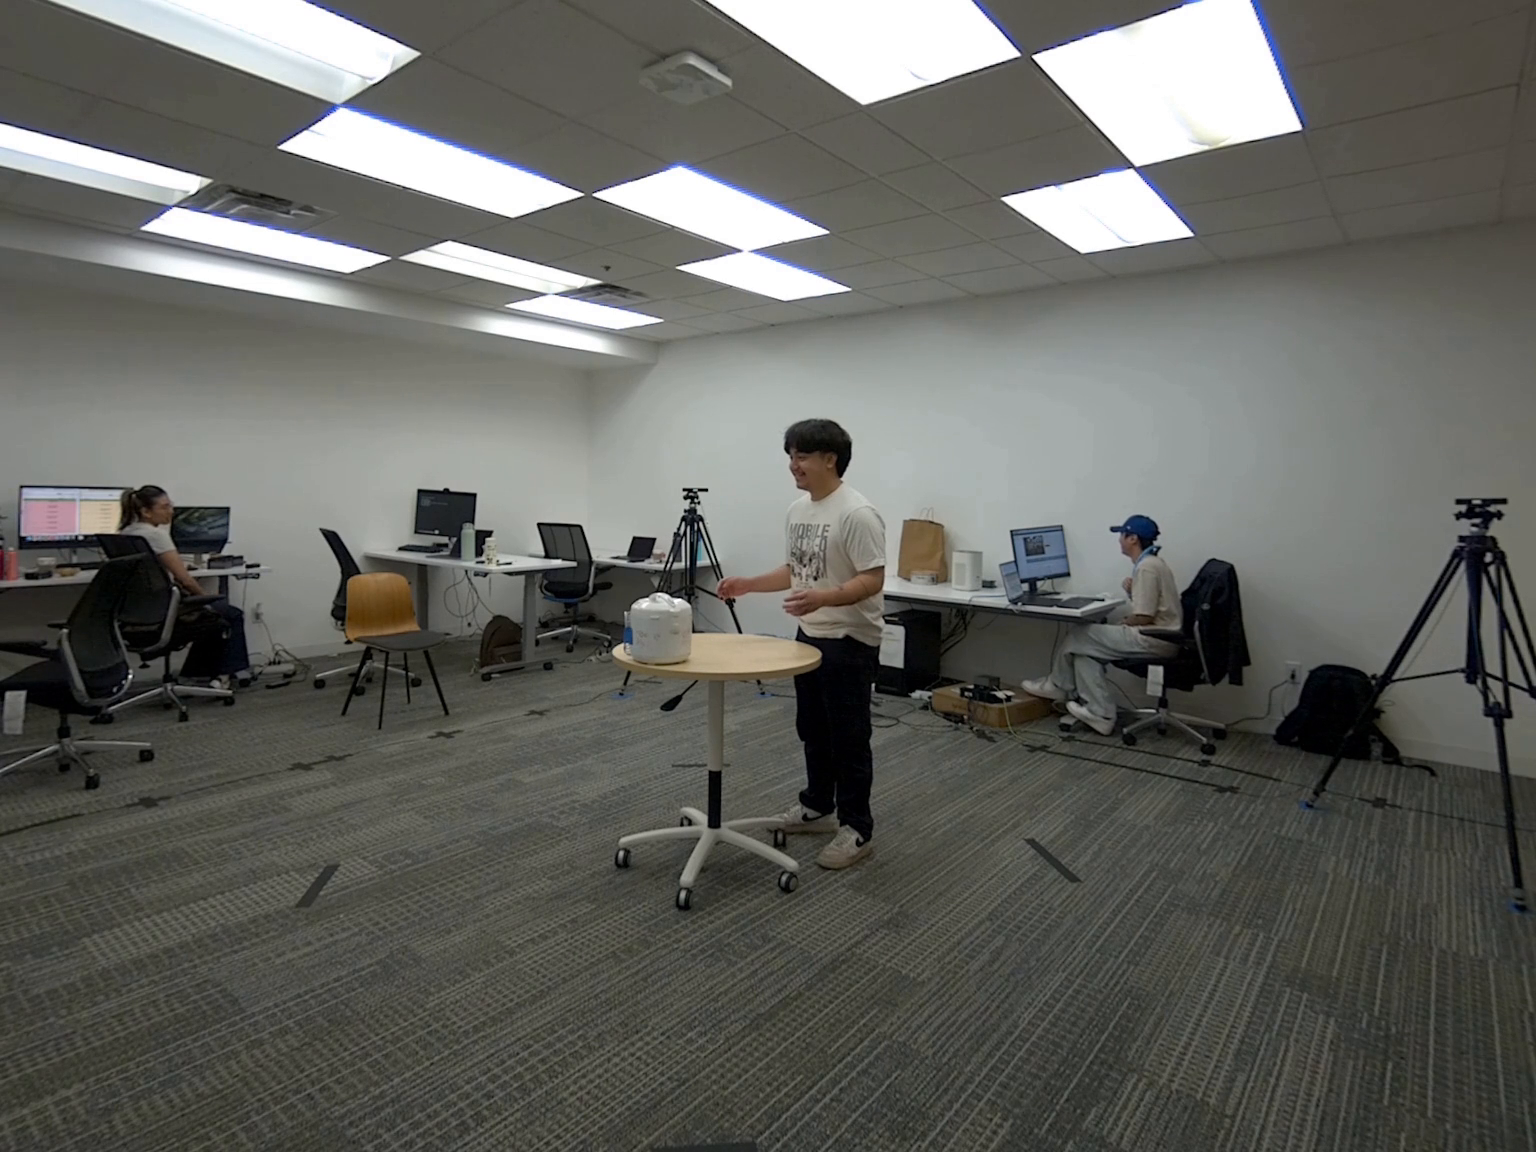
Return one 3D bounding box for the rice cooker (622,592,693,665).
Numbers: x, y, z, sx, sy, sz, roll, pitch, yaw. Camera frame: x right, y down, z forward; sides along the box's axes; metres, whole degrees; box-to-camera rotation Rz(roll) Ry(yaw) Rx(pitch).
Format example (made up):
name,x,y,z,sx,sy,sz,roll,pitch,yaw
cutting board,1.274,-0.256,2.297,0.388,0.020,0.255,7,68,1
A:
name,x,y,z,sx,sy,sz,roll,pitch,yaw
rice cooker,-0.380,0.174,2.929,0.212,0.232,0.227,-4,7,-32
